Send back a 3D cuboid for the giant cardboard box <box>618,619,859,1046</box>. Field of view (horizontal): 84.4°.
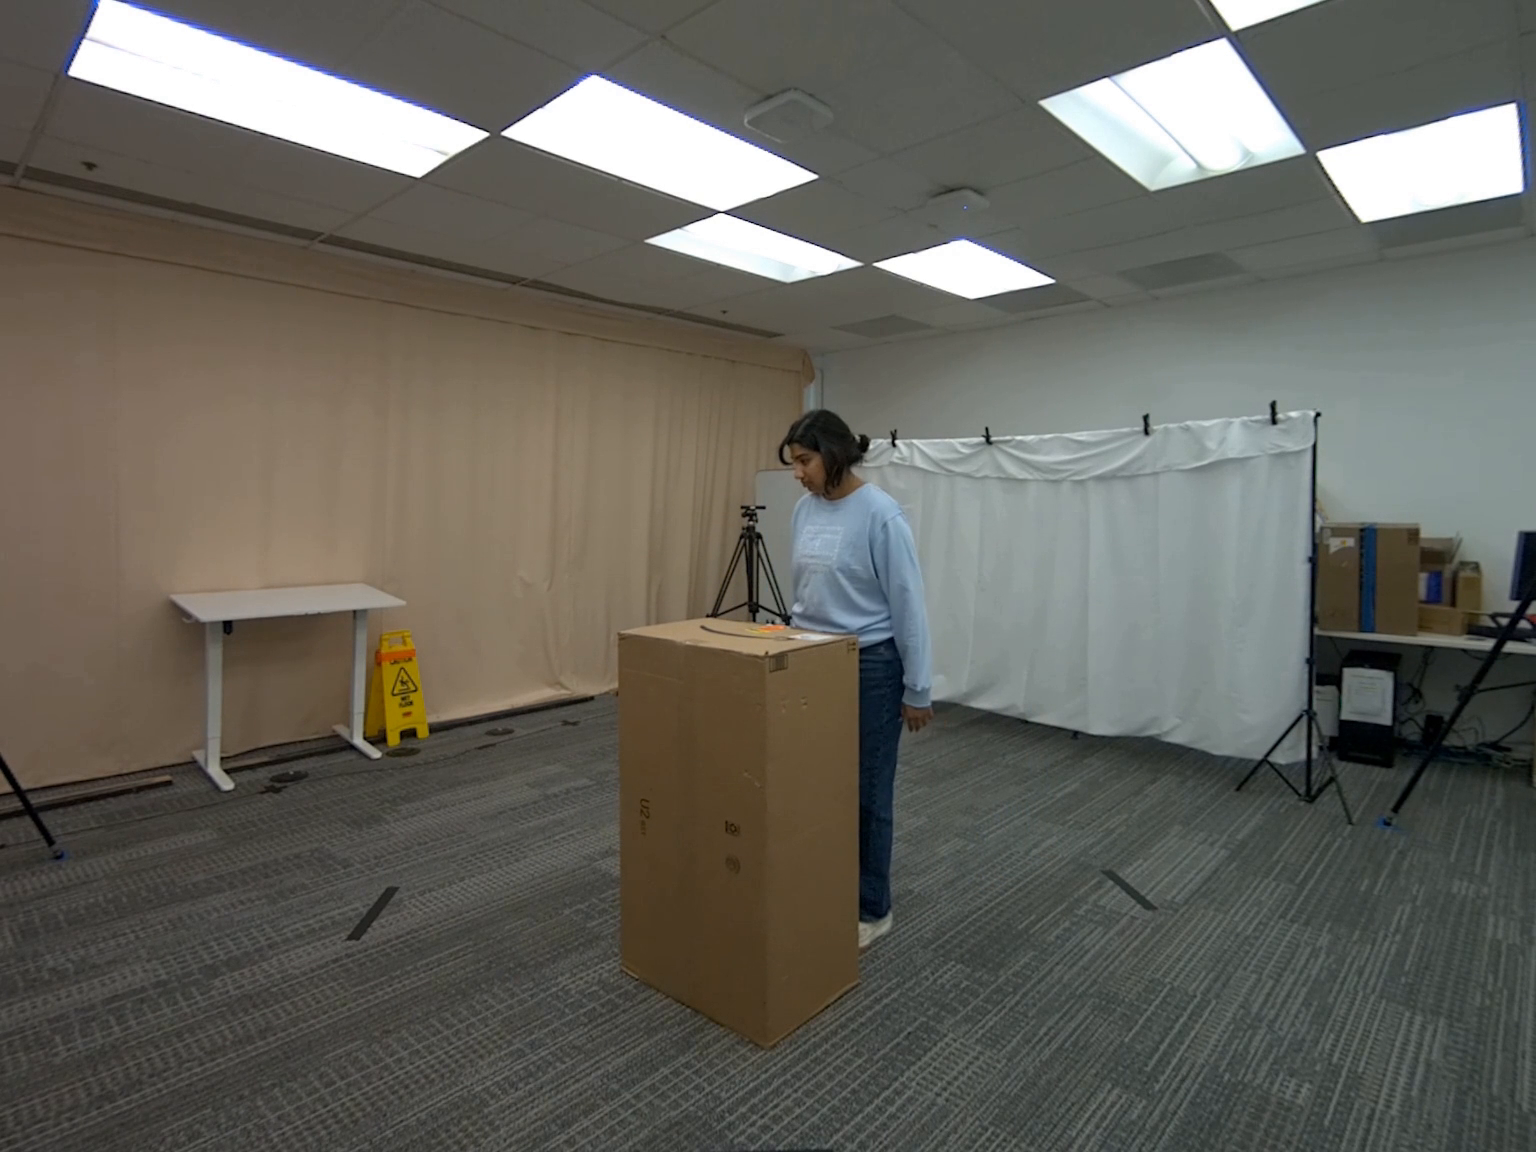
[{"bbox_3d":[-0.091,0.678,2.465,0.603,1.025,0.433,3,3,42],"label":"giant cardboard box"}]
